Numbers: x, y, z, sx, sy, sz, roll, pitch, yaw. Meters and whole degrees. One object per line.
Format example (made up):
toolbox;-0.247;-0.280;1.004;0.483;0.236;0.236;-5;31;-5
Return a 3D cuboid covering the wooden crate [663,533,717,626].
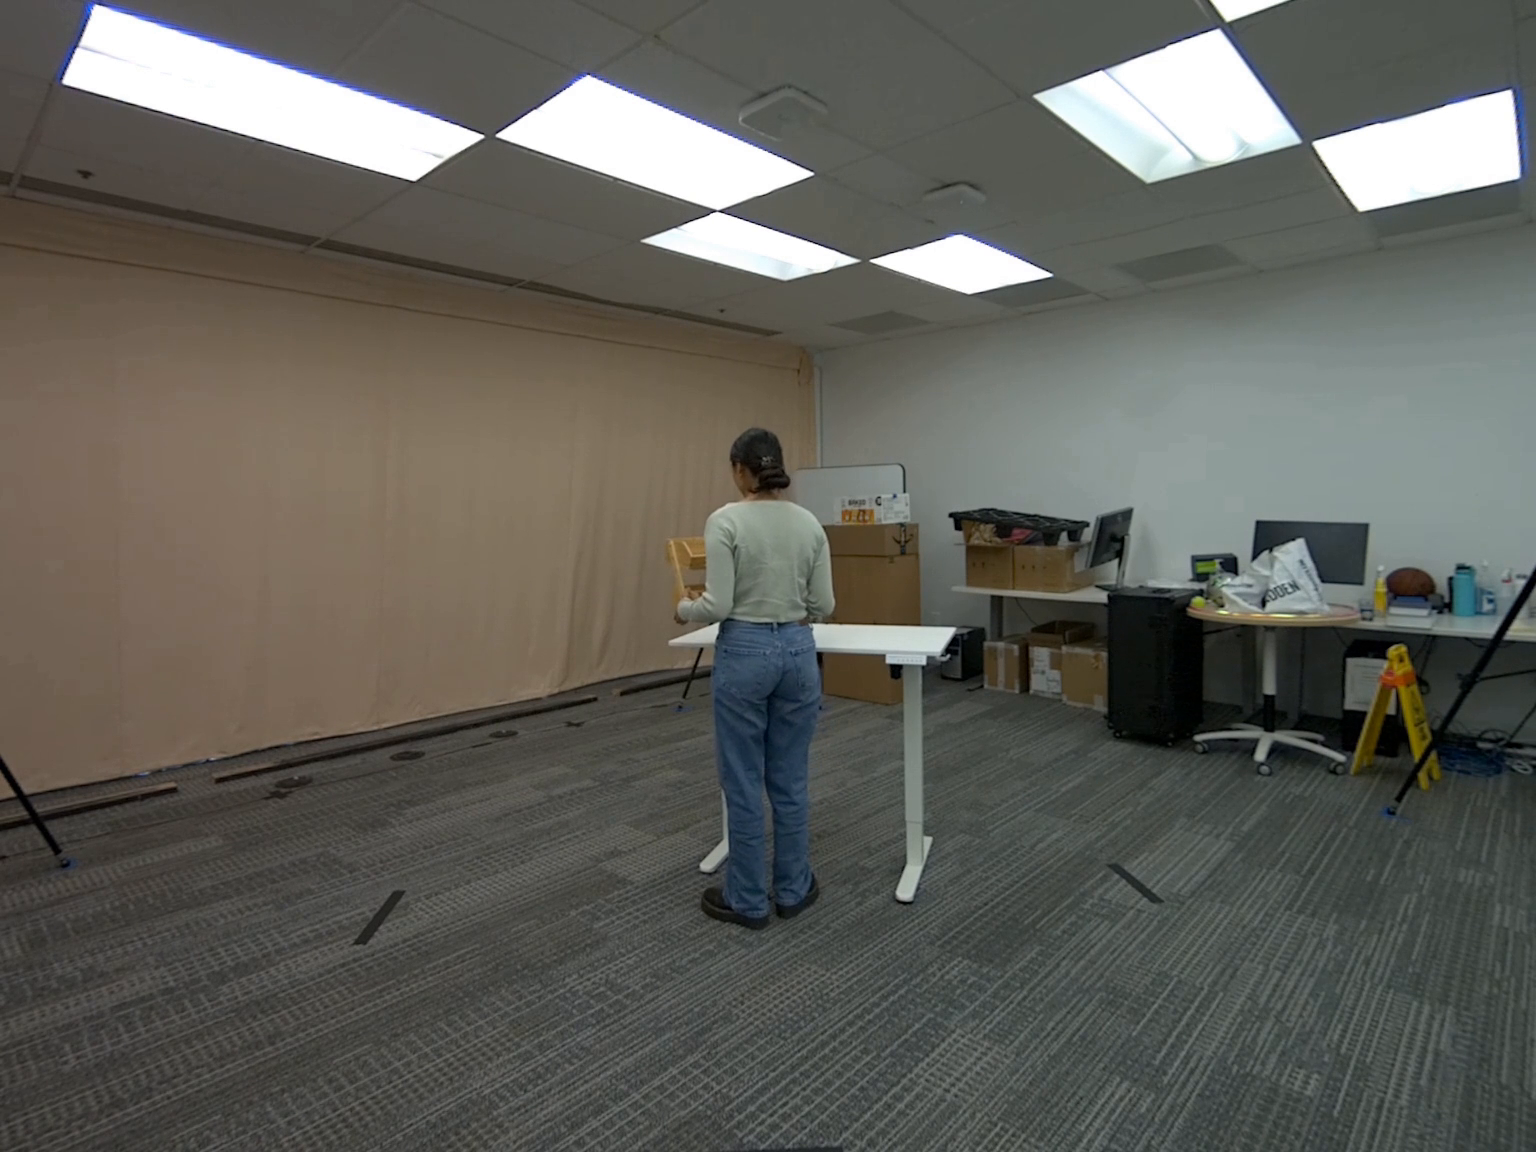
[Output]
wooden crate;-0.165;-0.001;3.048;0.316;0.272;0.311;-3;9;-31
